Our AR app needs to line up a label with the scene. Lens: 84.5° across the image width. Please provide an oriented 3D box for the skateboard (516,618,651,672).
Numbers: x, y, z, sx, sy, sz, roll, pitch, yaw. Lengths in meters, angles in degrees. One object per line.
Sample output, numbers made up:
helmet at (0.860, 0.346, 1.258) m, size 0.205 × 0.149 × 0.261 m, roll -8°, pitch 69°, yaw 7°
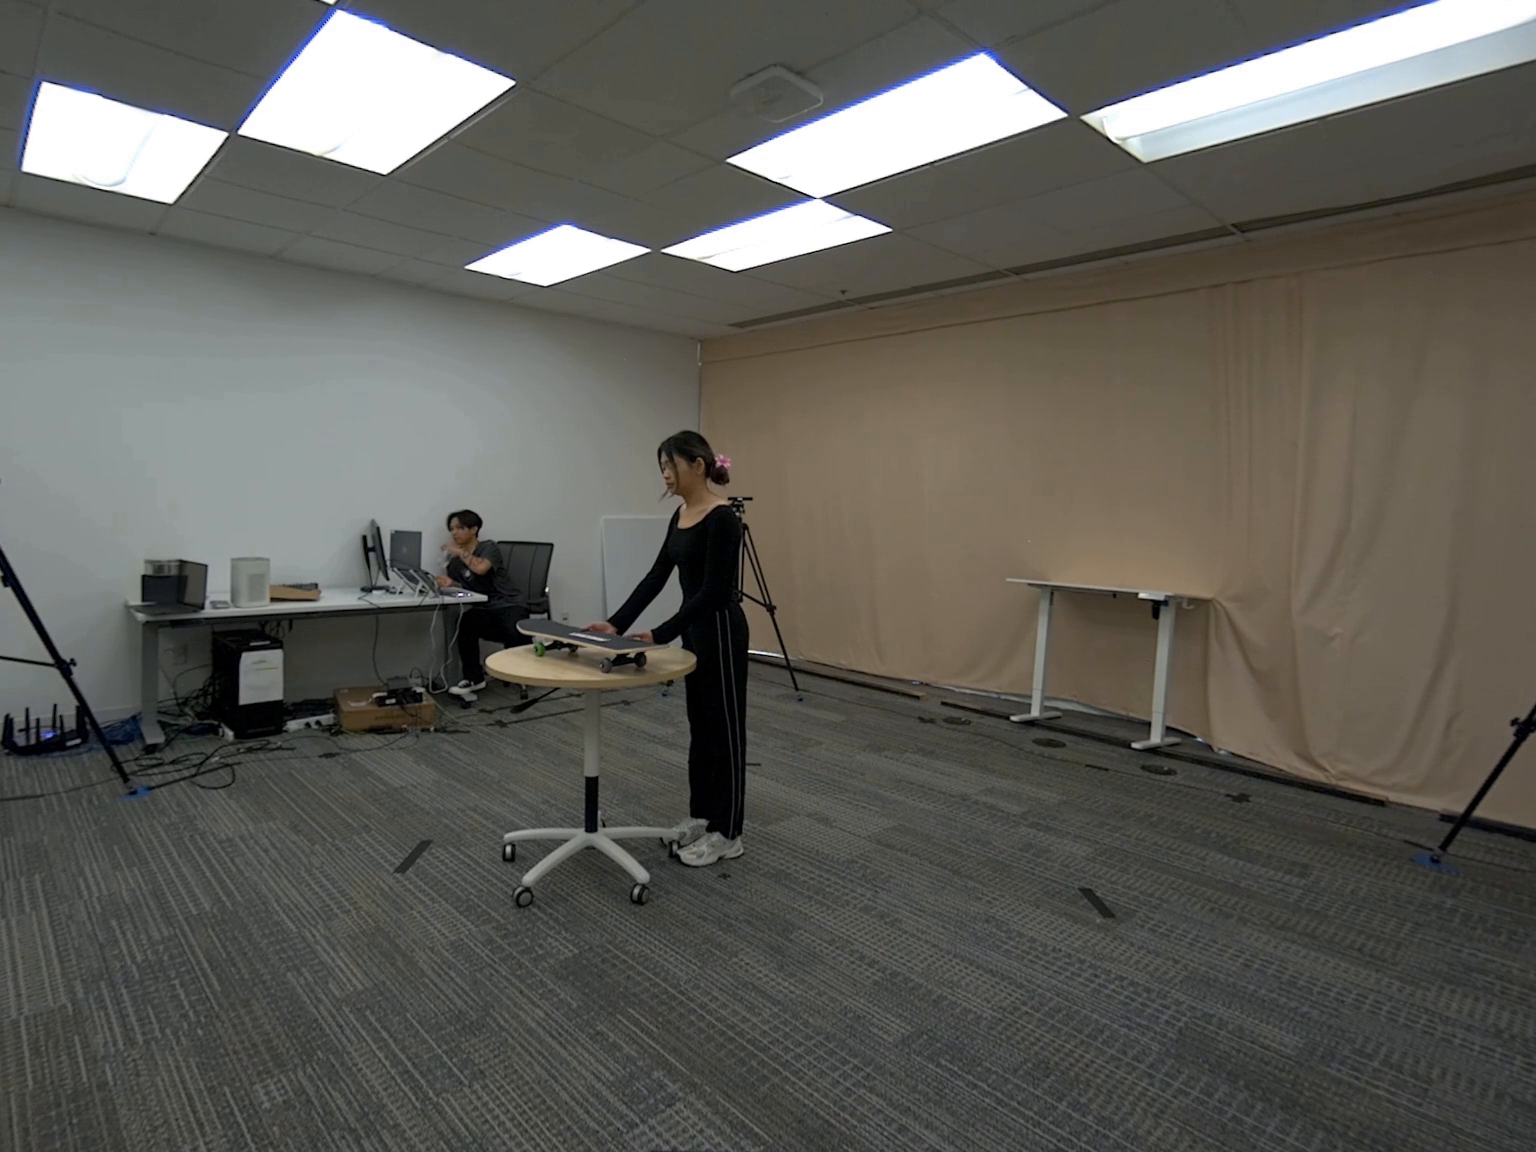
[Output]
skateboard at (-0.656, 0.260, 3.039) m, size 0.805 × 0.110 × 0.189 m, roll 5°, pitch 9°, yaw 40°
